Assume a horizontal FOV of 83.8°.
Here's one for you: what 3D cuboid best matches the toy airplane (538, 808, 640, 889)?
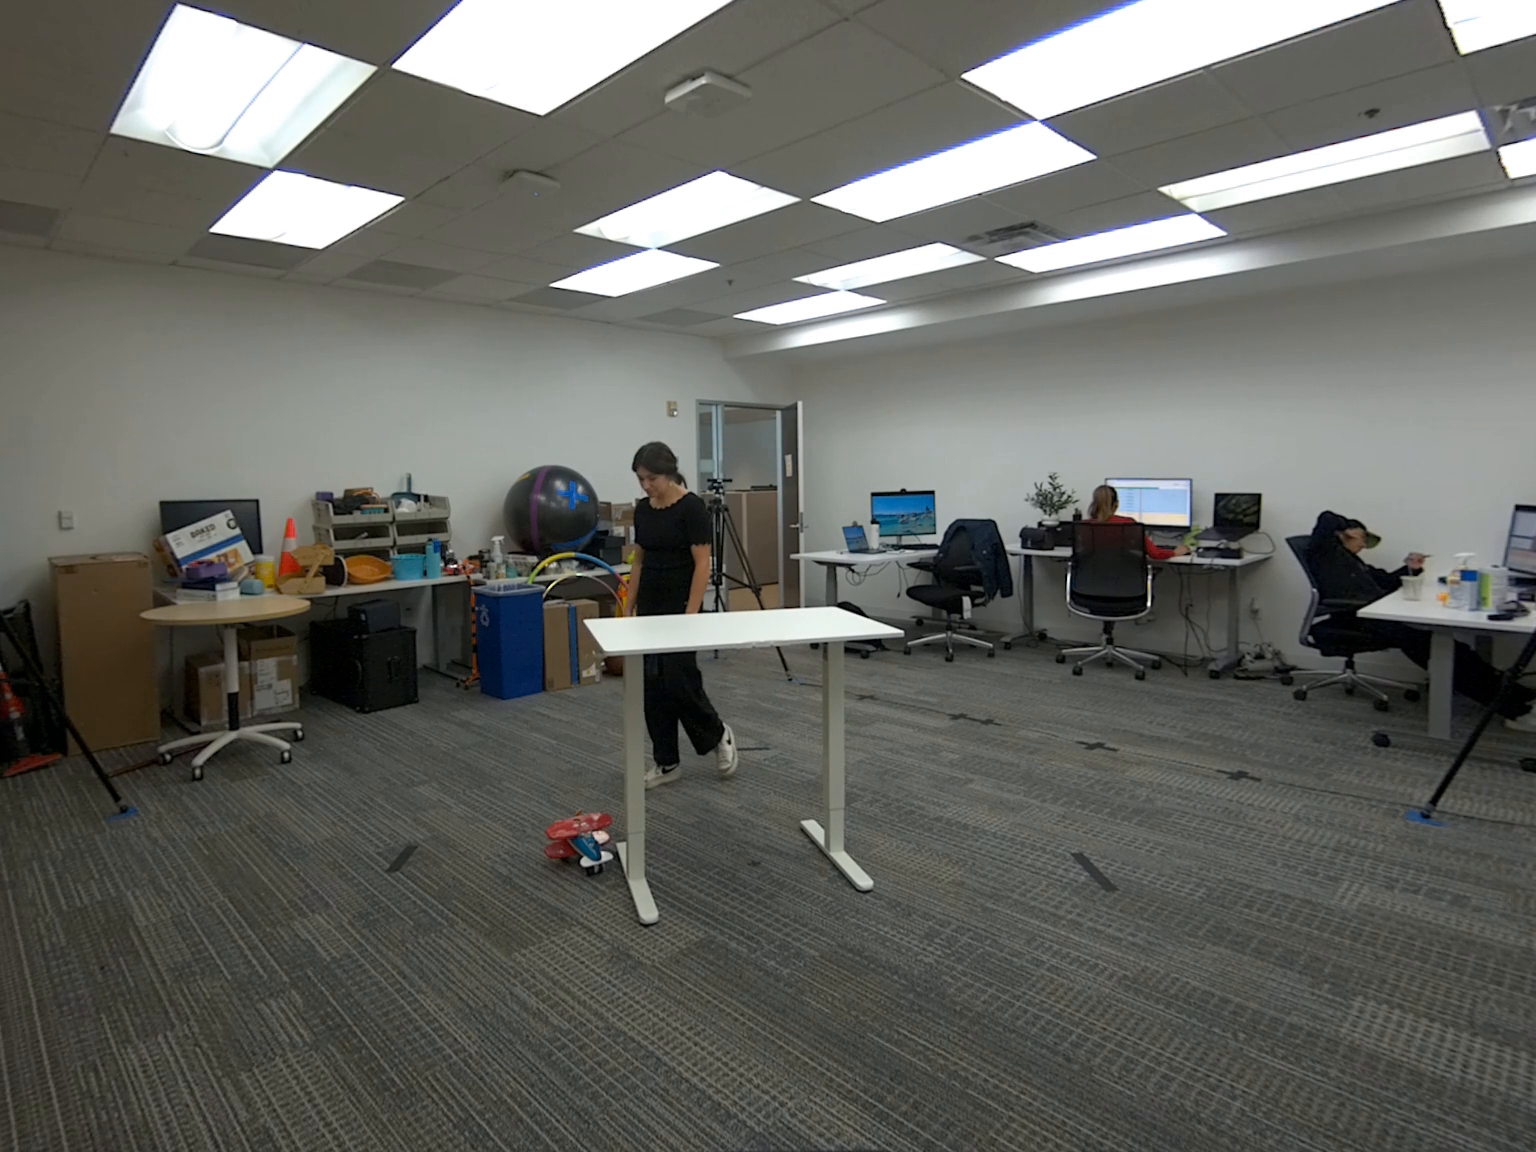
[{"bbox_3d":[-0.652,0.984,3.127,0.265,0.156,0.246,0,6,27],"label":"toy airplane"}]
